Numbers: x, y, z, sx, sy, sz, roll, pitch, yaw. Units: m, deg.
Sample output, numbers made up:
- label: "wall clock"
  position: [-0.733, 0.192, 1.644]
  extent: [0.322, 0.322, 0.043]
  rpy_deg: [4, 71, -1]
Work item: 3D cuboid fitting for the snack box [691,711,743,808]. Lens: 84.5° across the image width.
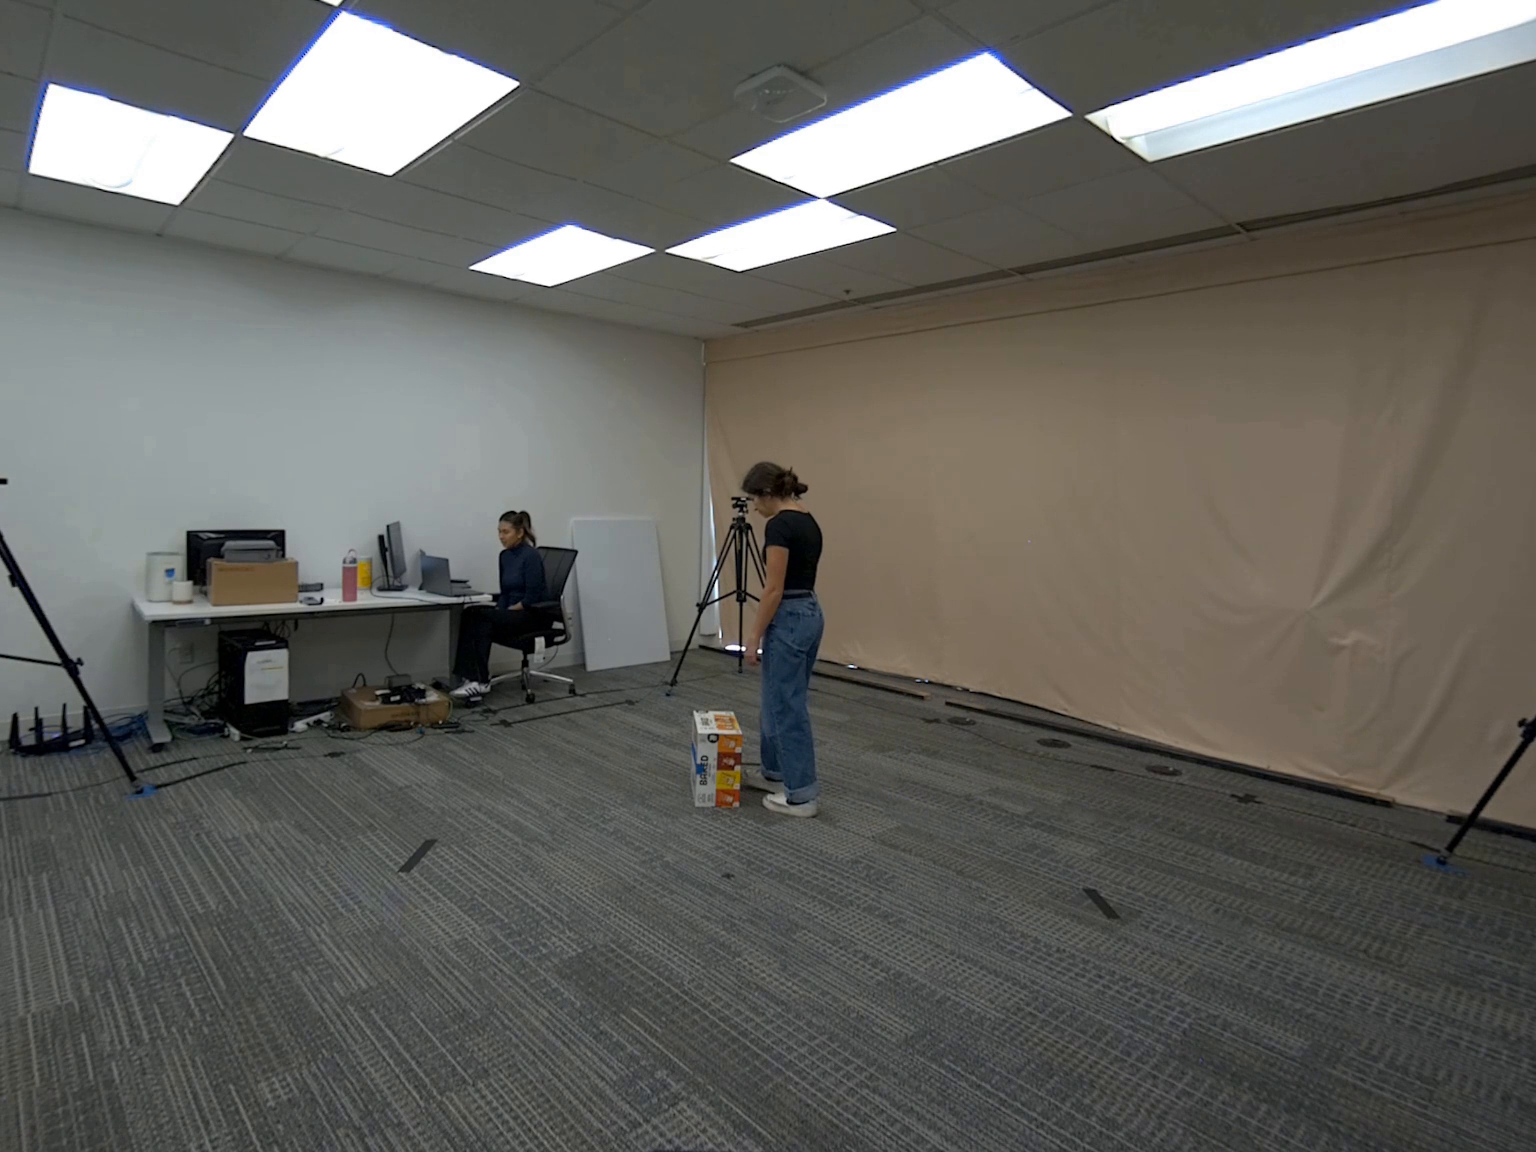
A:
- label: "snack box"
  position: [-0.254, 0.854, 3.988]
  extent: [0.204, 0.339, 0.408]
  rpy_deg: [3, 4, -8]
